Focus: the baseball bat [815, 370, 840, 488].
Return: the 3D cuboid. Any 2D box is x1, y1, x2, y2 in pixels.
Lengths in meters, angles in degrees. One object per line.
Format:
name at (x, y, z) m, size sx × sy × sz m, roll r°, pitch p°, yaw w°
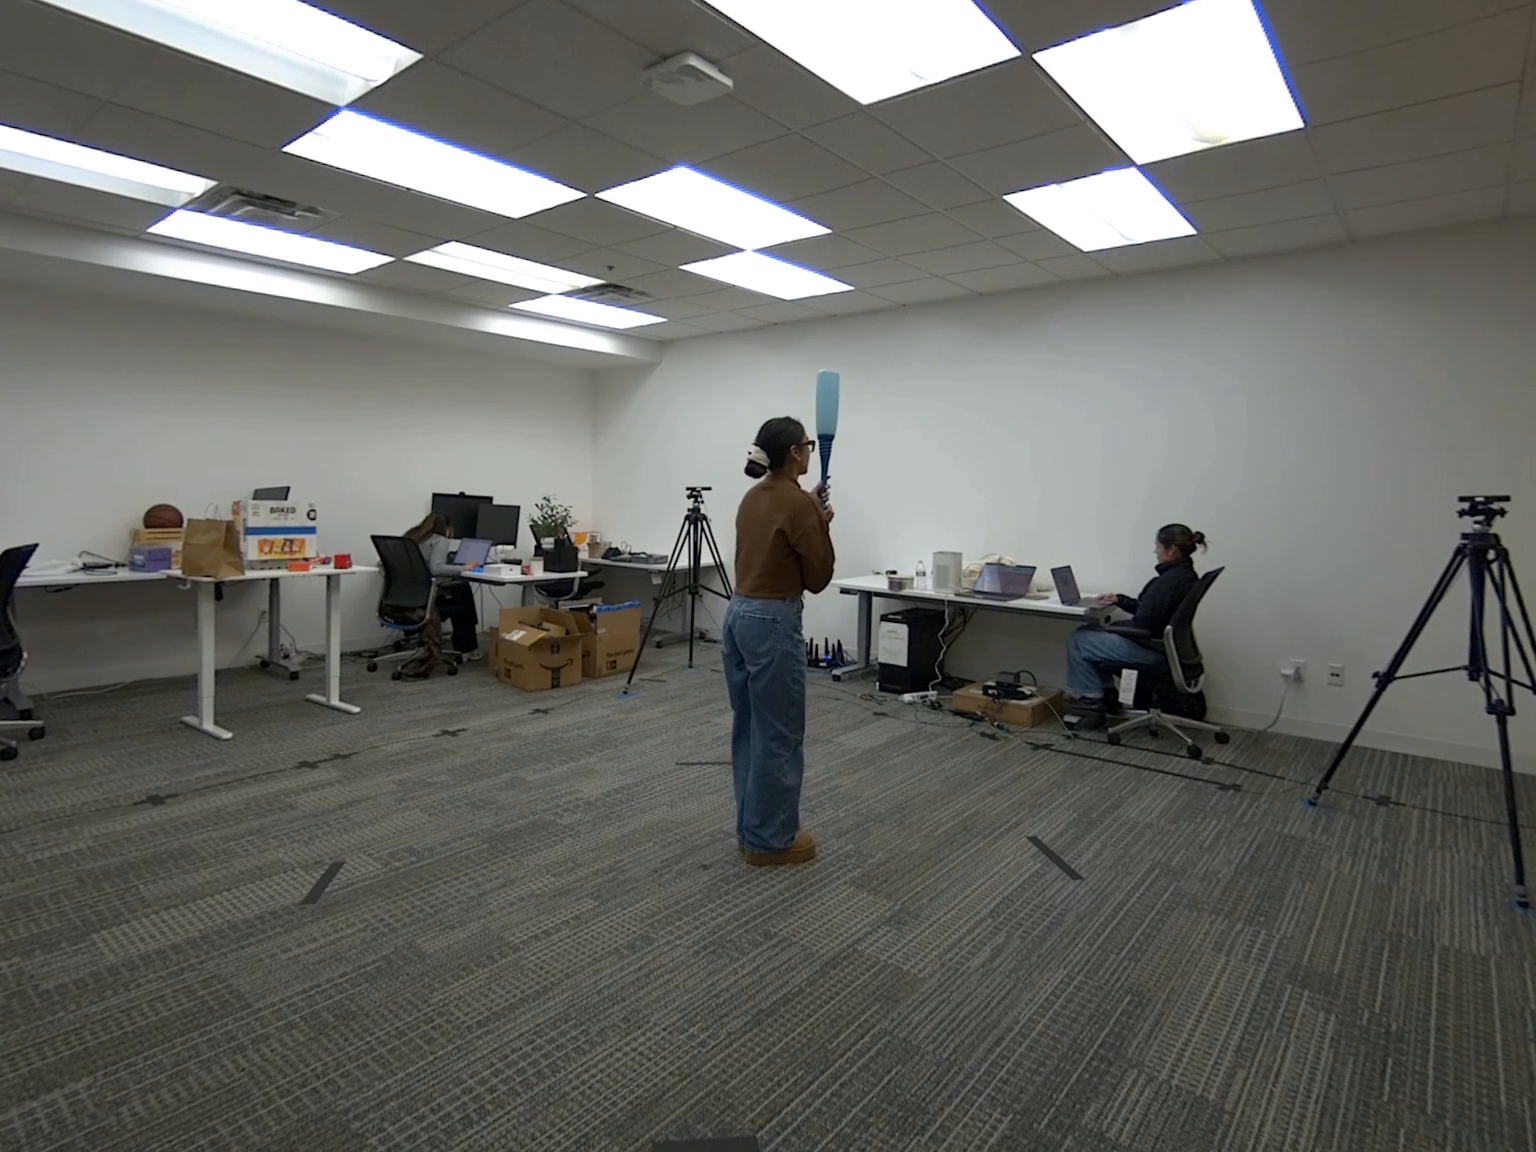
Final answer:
baseball bat at (0.212, -0.520, 3.251) m, size 0.089 × 0.545 × 0.089 m, roll 2°, pitch -4°, yaw -2°
